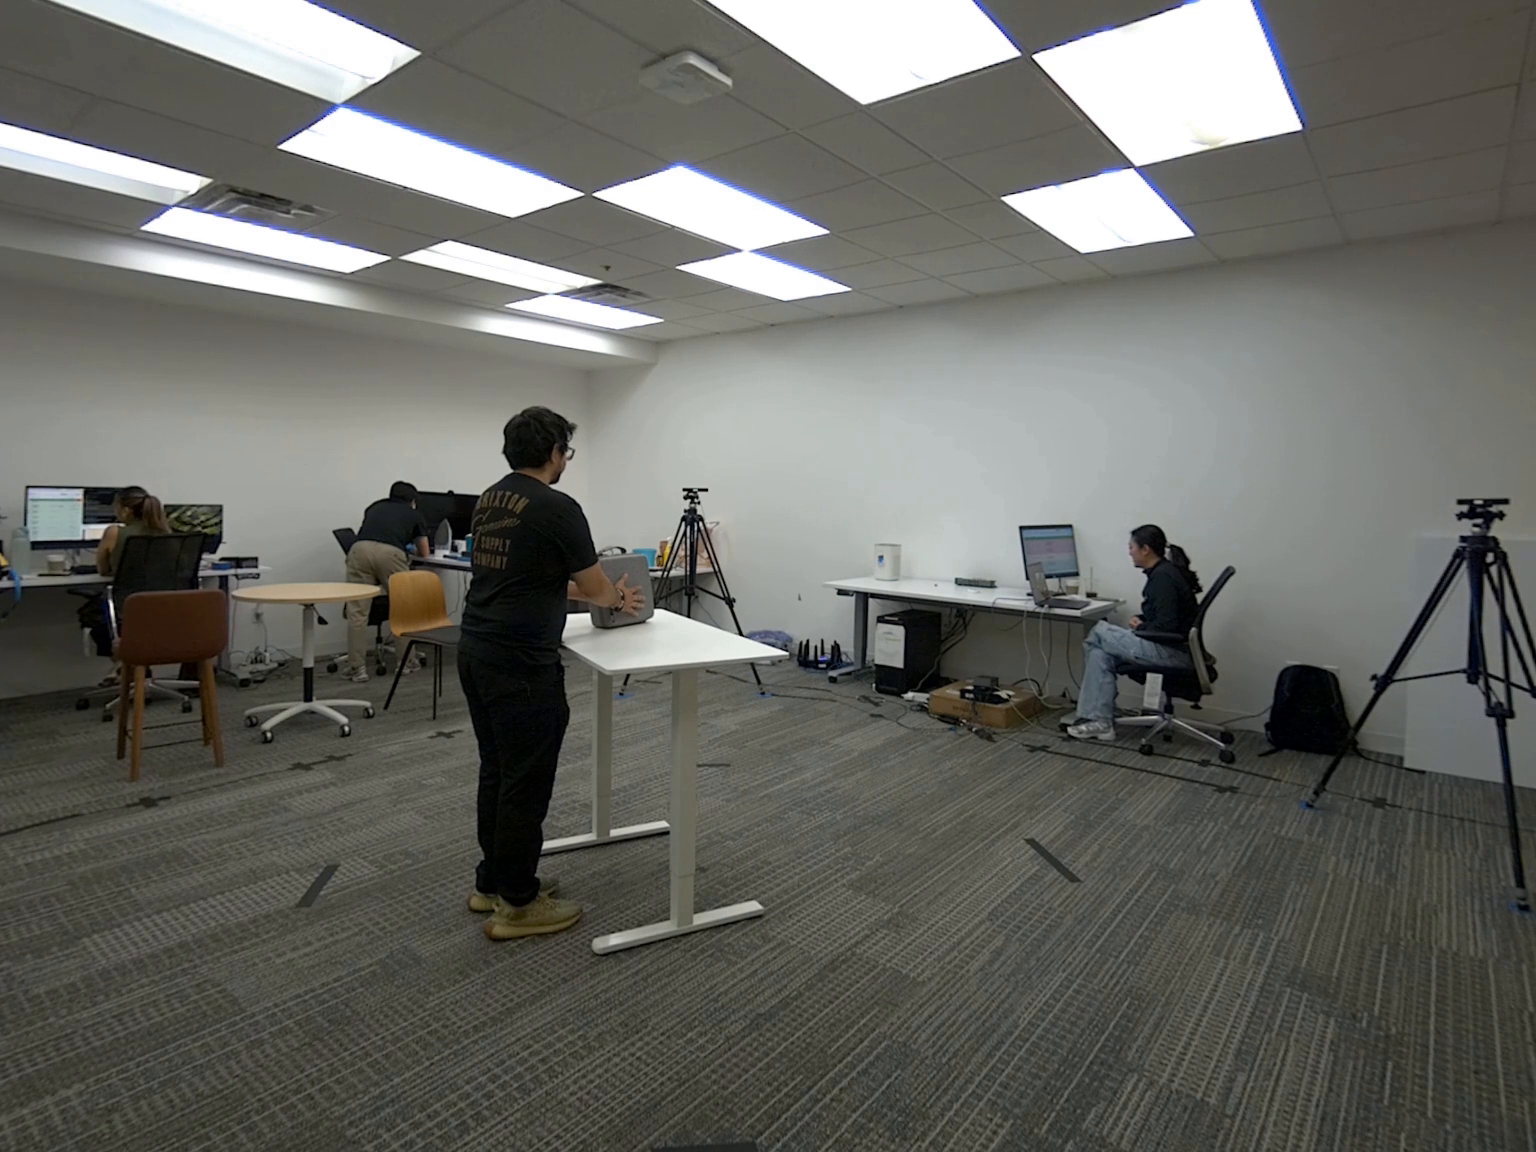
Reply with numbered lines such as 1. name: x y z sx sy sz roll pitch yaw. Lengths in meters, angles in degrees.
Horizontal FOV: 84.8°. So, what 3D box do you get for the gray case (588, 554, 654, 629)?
1. gray case: -0.560 0.047 3.135 0.107 0.261 0.250 -11 -3 38
